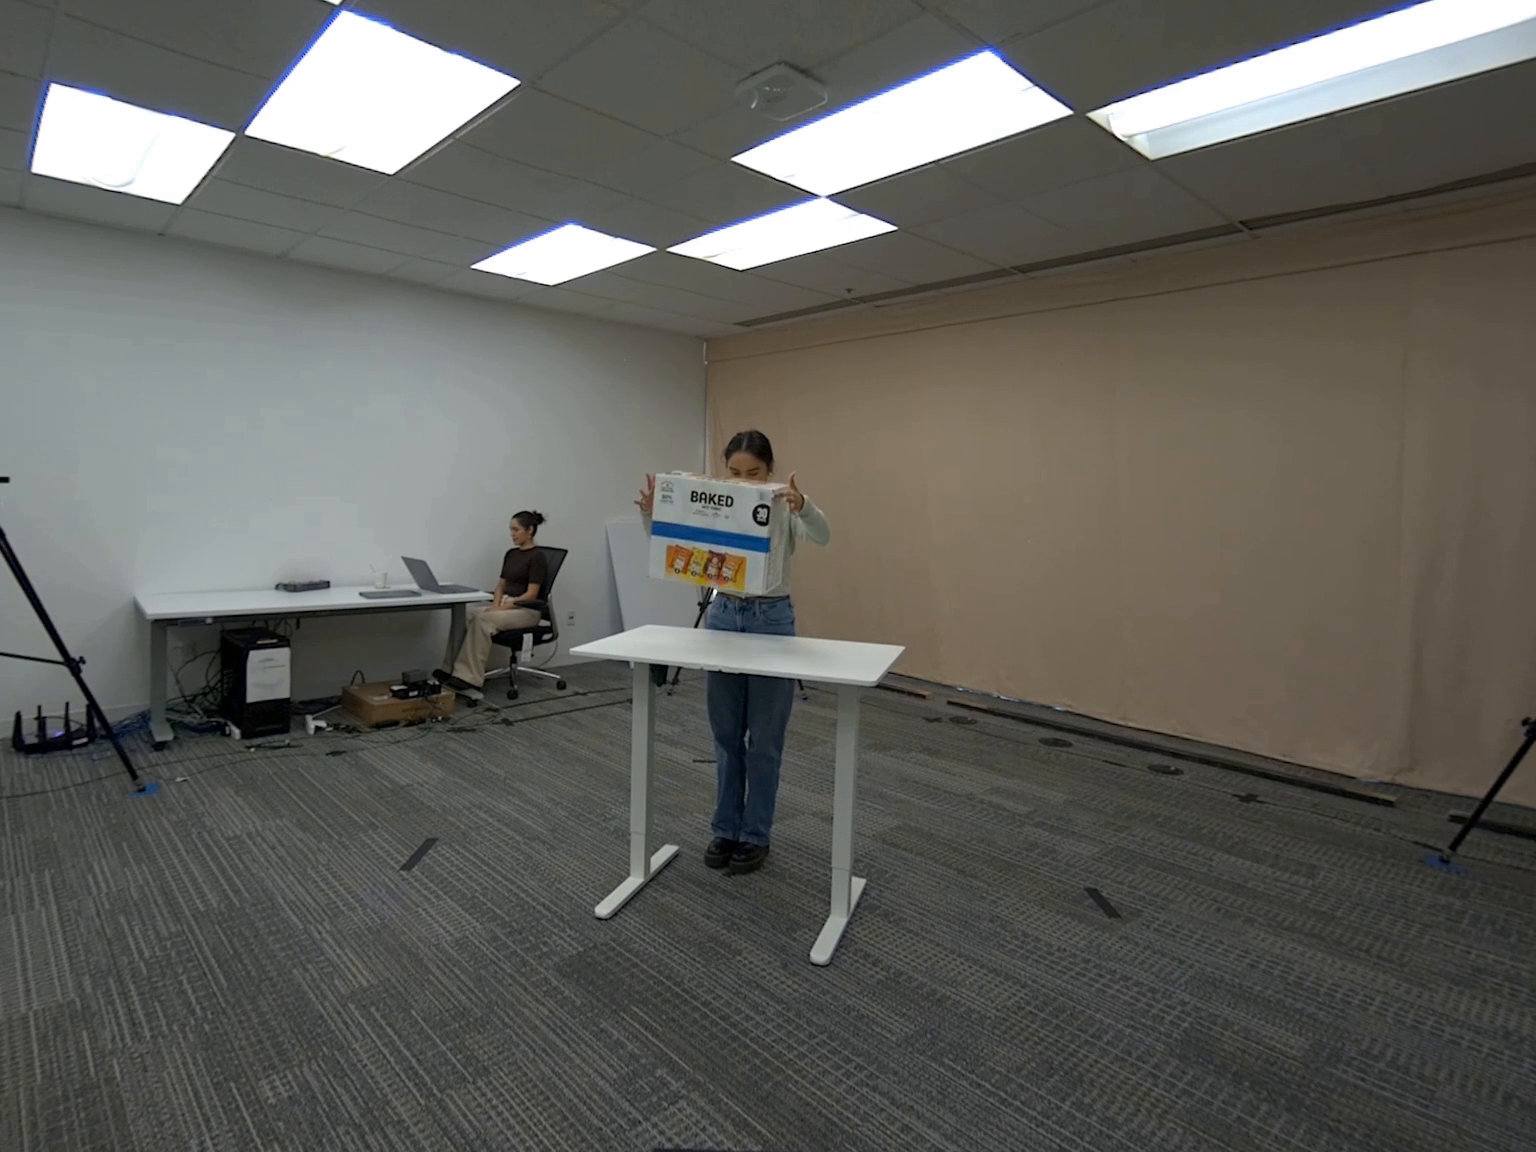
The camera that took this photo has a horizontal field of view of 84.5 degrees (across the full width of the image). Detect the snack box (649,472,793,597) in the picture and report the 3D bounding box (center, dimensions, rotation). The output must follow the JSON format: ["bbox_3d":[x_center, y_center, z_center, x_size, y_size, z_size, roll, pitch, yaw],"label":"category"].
[{"bbox_3d":[-0.171,-0.144,2.756,0.412,0.338,0.203,10,9,18],"label":"snack box"}]
